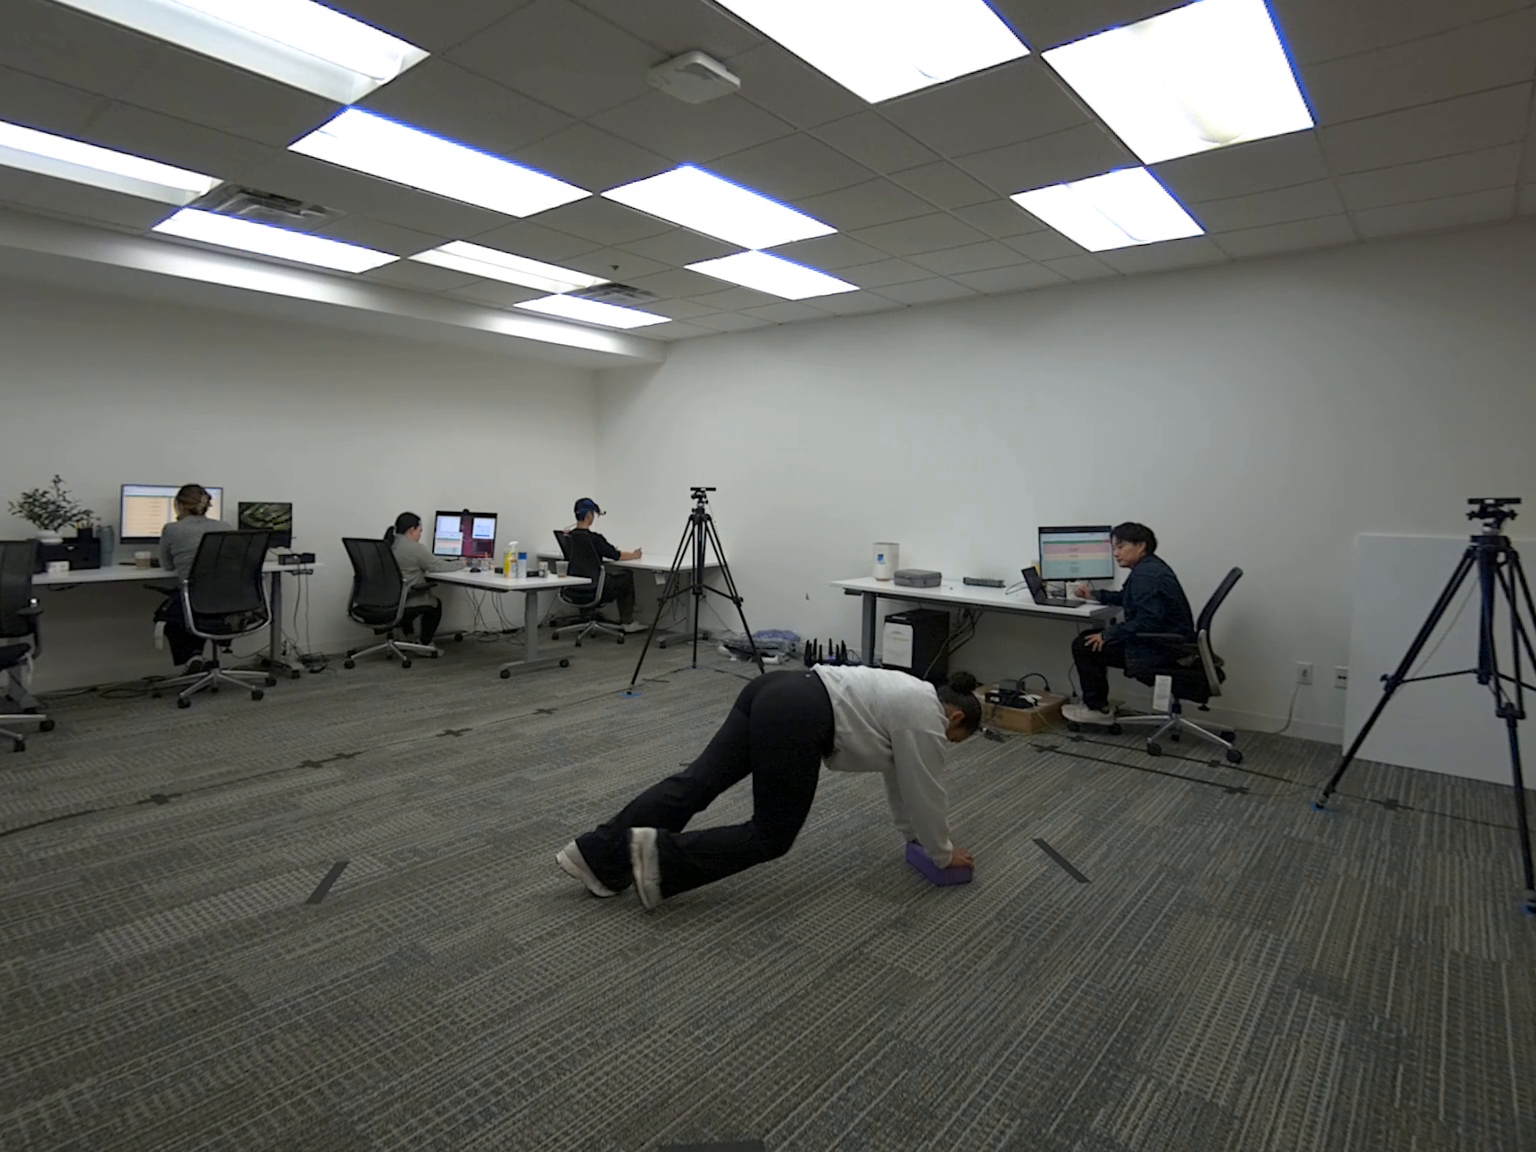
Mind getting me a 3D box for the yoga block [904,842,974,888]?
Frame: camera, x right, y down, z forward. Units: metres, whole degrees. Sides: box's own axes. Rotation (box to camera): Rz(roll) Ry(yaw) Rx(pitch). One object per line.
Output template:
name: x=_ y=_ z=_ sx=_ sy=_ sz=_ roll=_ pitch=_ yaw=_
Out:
yoga block: x=0.622 y=1.053 z=3.138 sx=0.146 sy=0.076 sz=0.235 roll=-3 pitch=7 yaw=-20
